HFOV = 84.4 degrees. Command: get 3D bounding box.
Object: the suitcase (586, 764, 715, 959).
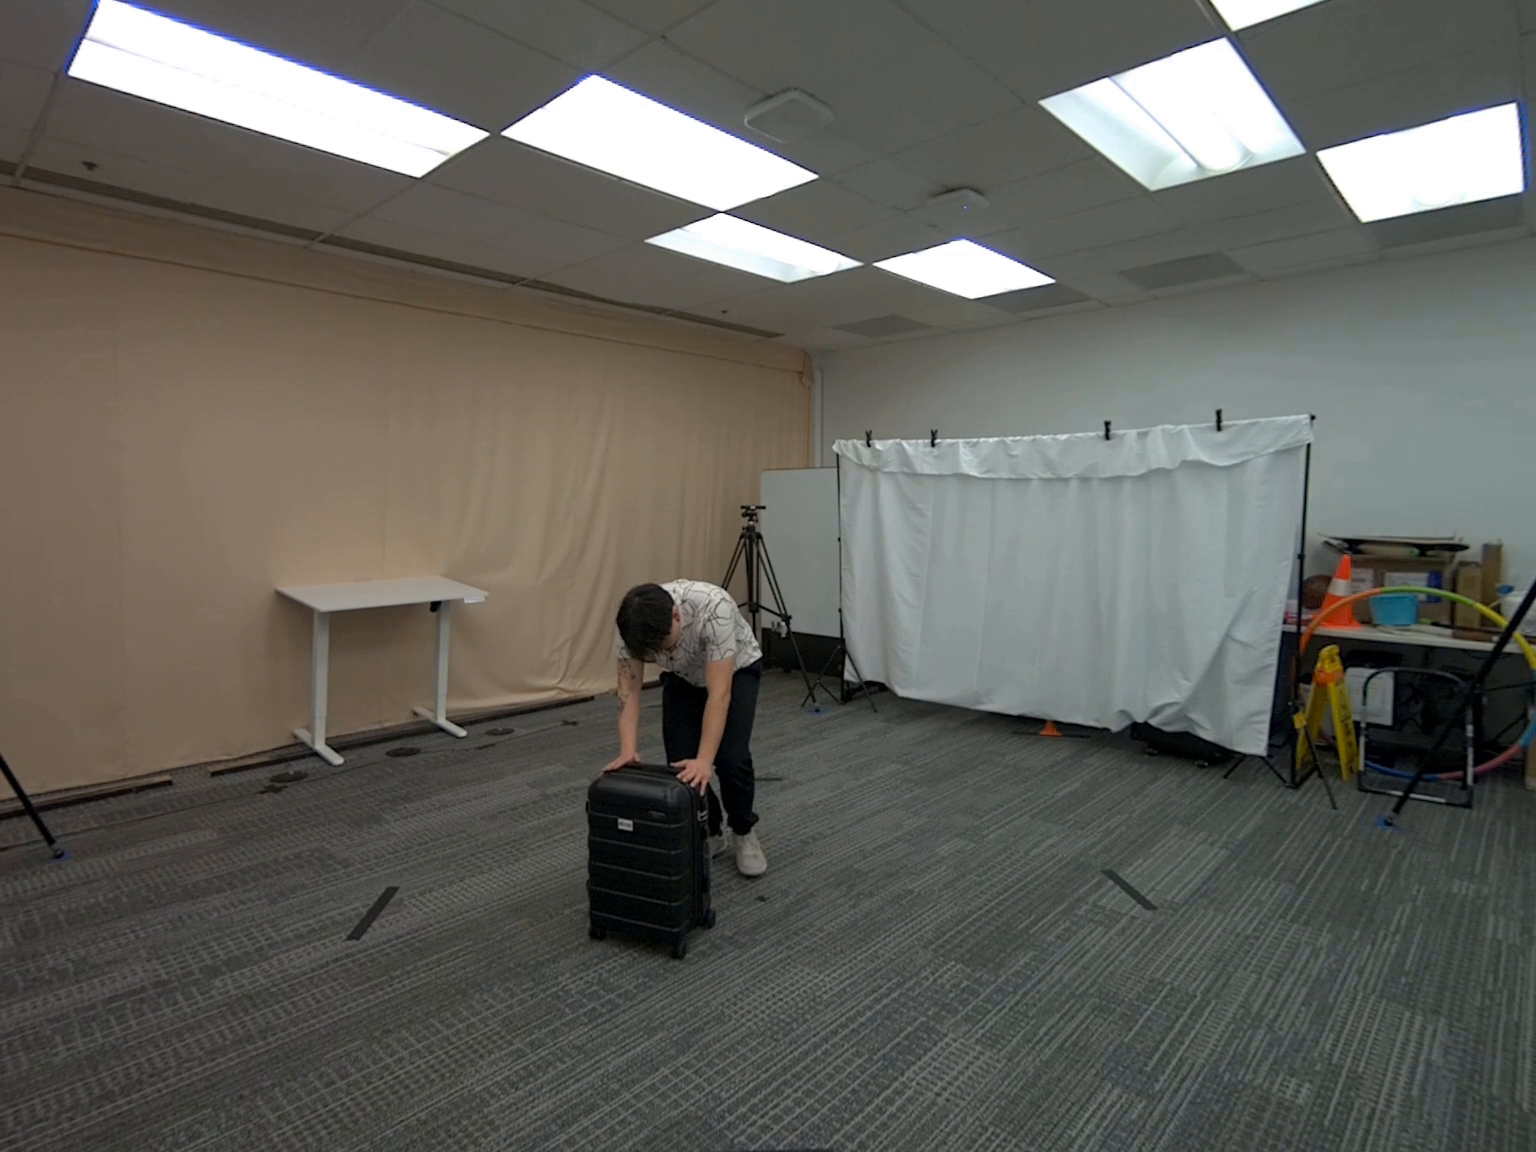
[{"bbox_3d":[-0.384,0.892,2.713,0.385,0.547,0.243,2,5,25],"label":"suitcase"}]
